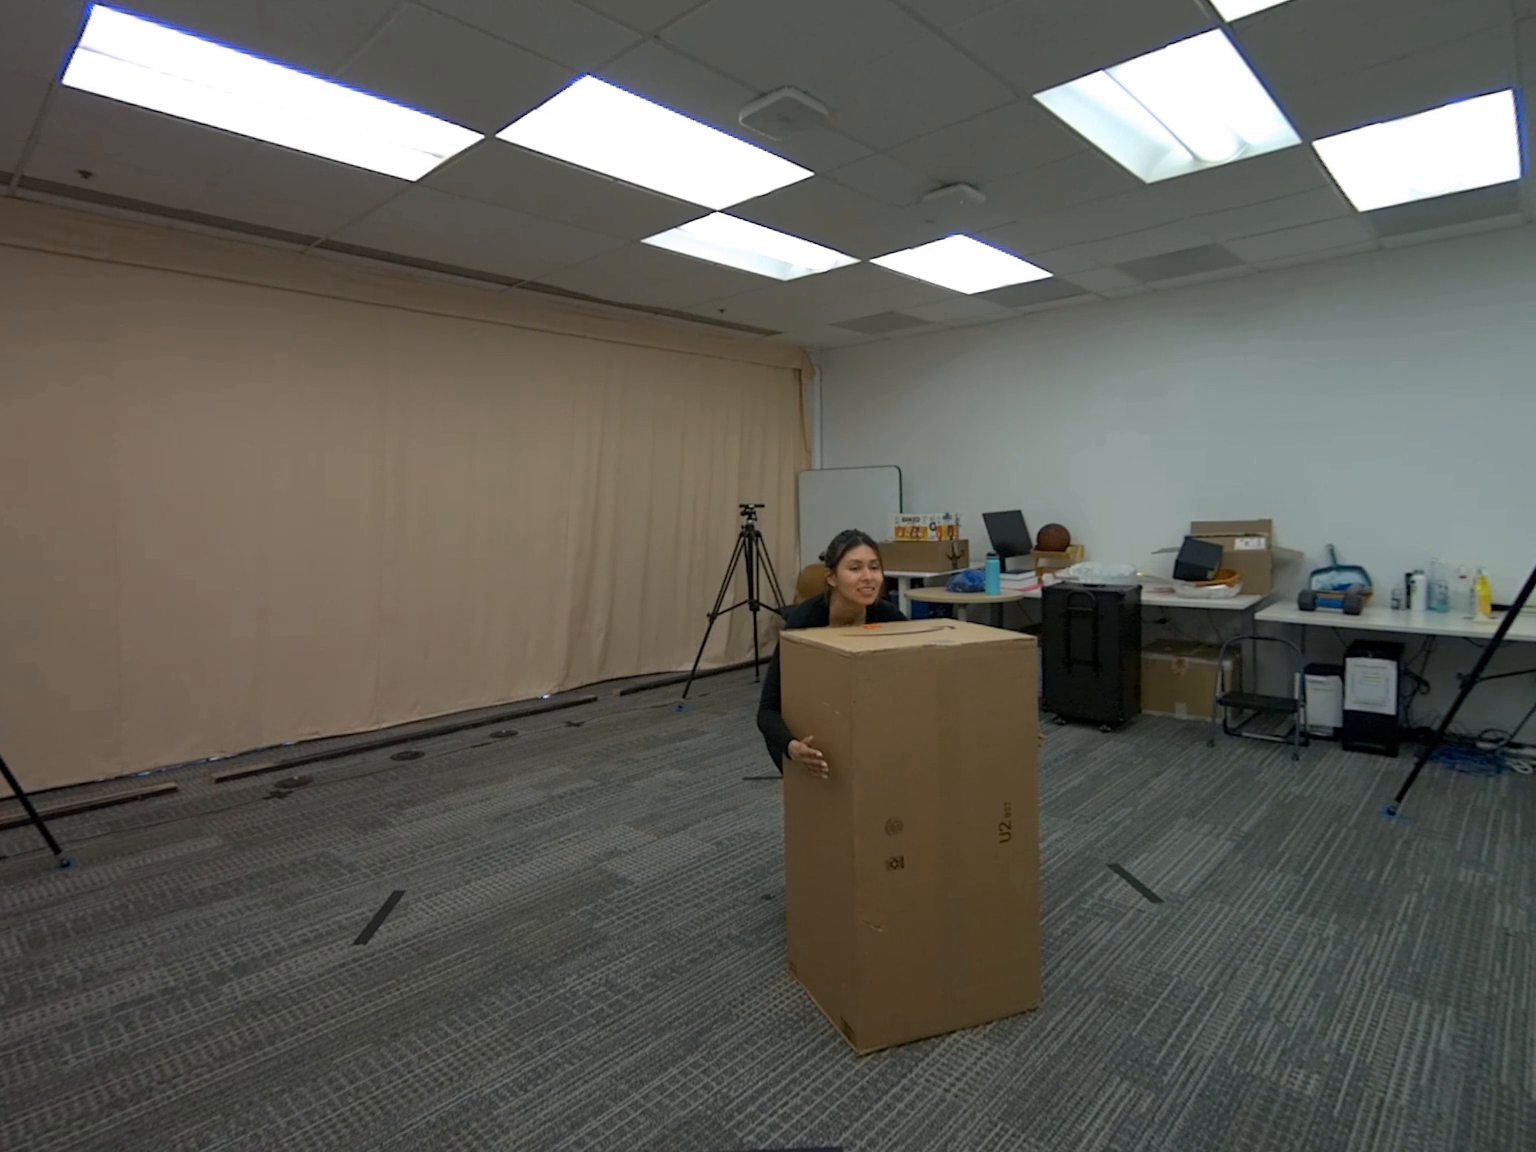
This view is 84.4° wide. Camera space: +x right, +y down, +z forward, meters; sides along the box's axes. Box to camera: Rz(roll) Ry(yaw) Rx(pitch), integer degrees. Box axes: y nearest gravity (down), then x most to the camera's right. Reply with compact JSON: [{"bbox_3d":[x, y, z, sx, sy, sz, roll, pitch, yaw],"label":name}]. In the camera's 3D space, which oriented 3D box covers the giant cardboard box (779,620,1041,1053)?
[{"bbox_3d":[0.397,0.673,2.384,0.566,1.023,0.436,-2,4,-21],"label":"giant cardboard box"}]
